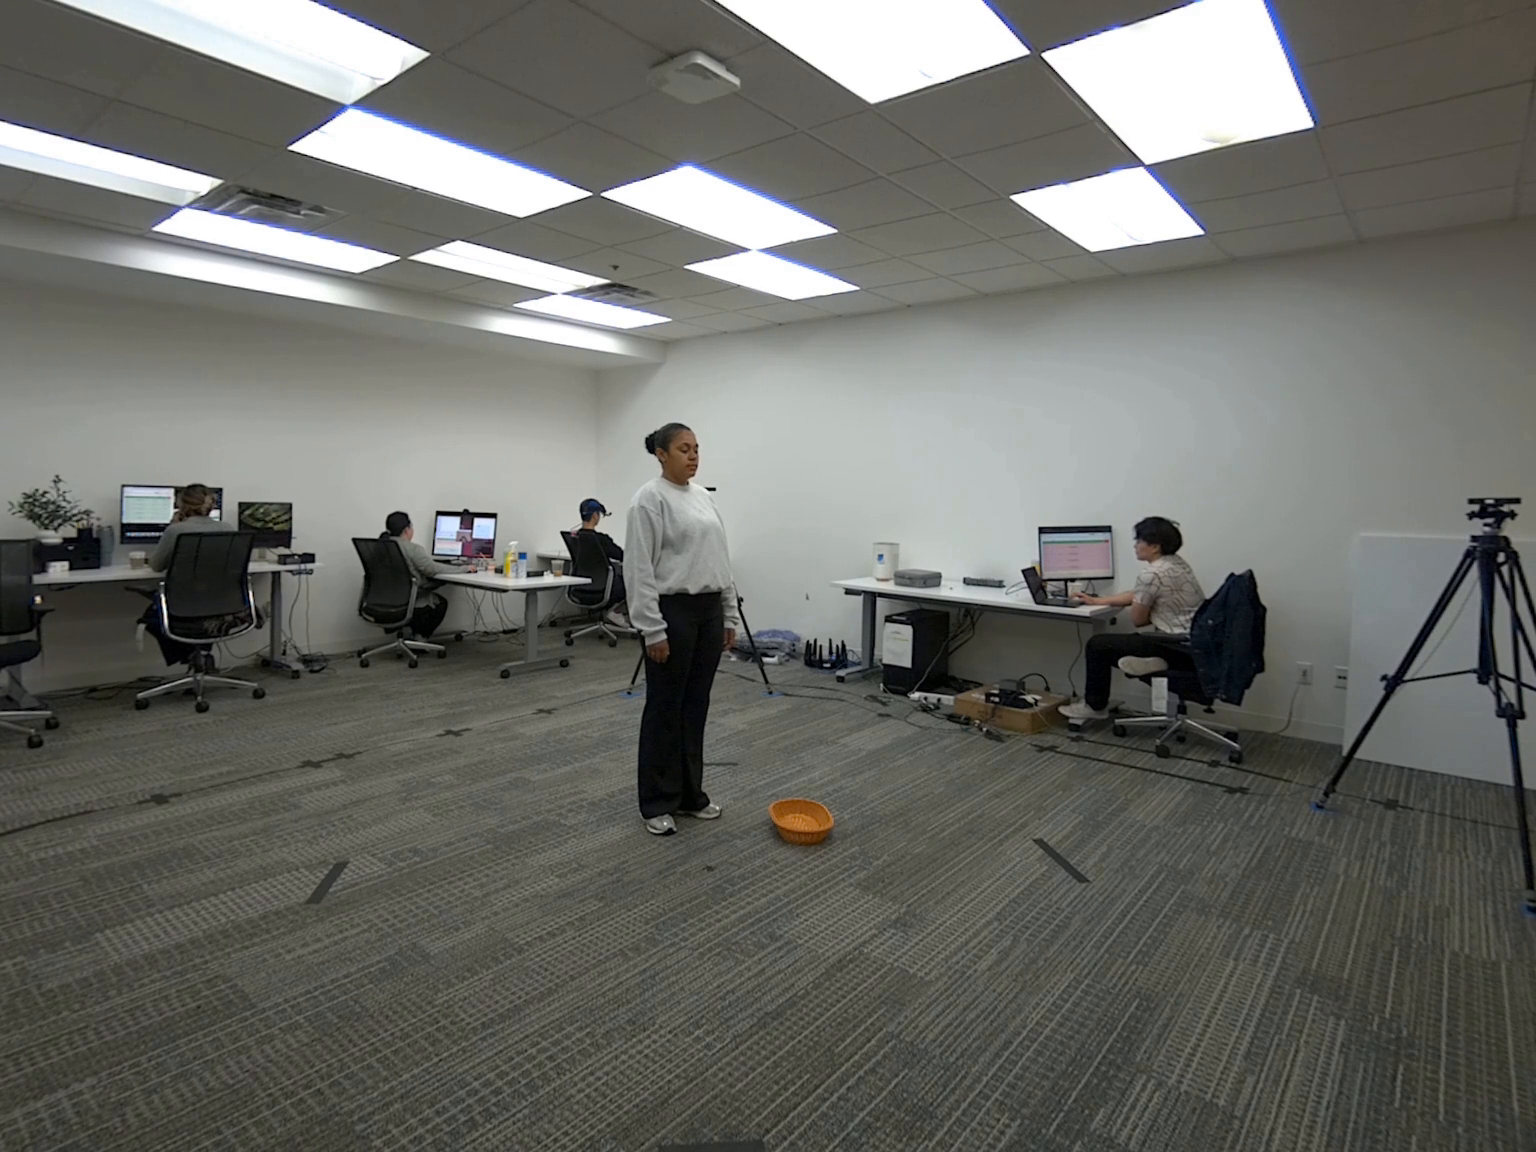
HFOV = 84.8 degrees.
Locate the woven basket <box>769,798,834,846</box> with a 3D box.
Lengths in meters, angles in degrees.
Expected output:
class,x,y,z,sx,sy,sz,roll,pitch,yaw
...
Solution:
class,x,y,z,sx,sy,sz,roll,pitch,yaw
woven basket,0.122,0.998,3.468,0.251,0.073,0.353,1,6,-4
